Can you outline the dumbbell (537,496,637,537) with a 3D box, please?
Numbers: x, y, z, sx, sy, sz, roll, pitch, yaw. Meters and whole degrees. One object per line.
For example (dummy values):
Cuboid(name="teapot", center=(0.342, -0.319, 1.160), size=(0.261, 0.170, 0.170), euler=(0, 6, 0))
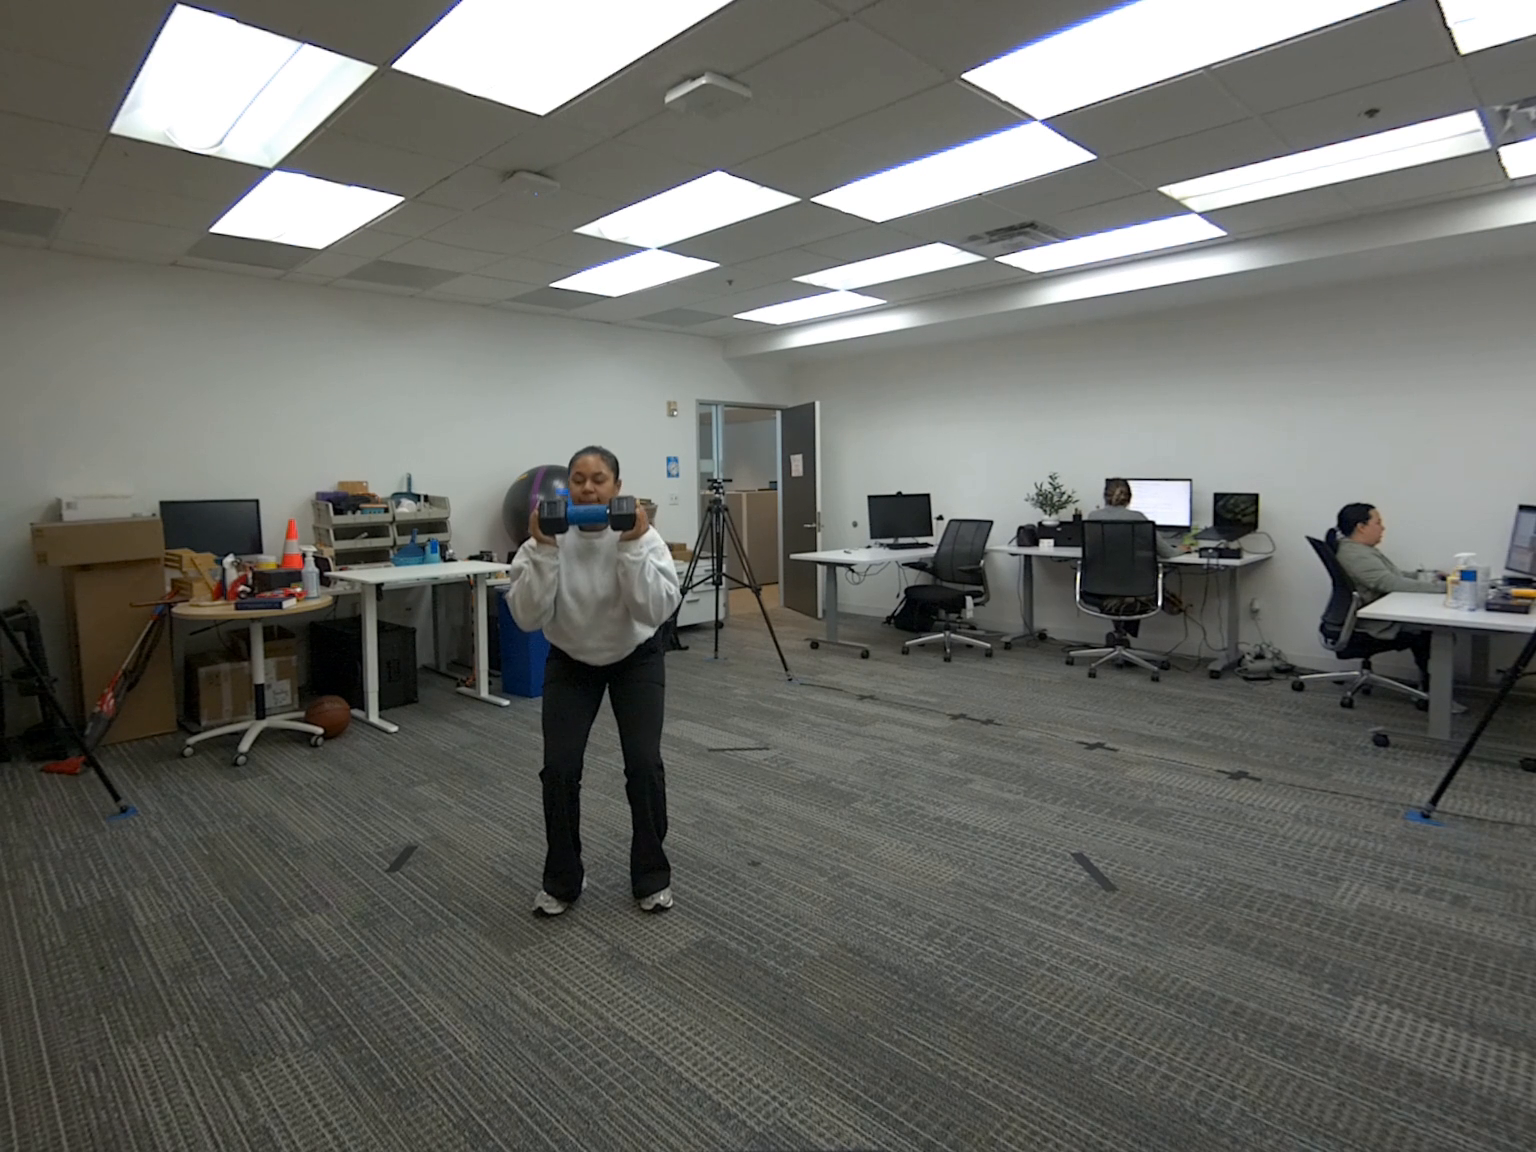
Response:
Cuboid(name="dumbbell", center=(-0.551, -0.171, 2.604), size=(0.293, 0.126, 0.106), euler=(-5, -27, -1))
